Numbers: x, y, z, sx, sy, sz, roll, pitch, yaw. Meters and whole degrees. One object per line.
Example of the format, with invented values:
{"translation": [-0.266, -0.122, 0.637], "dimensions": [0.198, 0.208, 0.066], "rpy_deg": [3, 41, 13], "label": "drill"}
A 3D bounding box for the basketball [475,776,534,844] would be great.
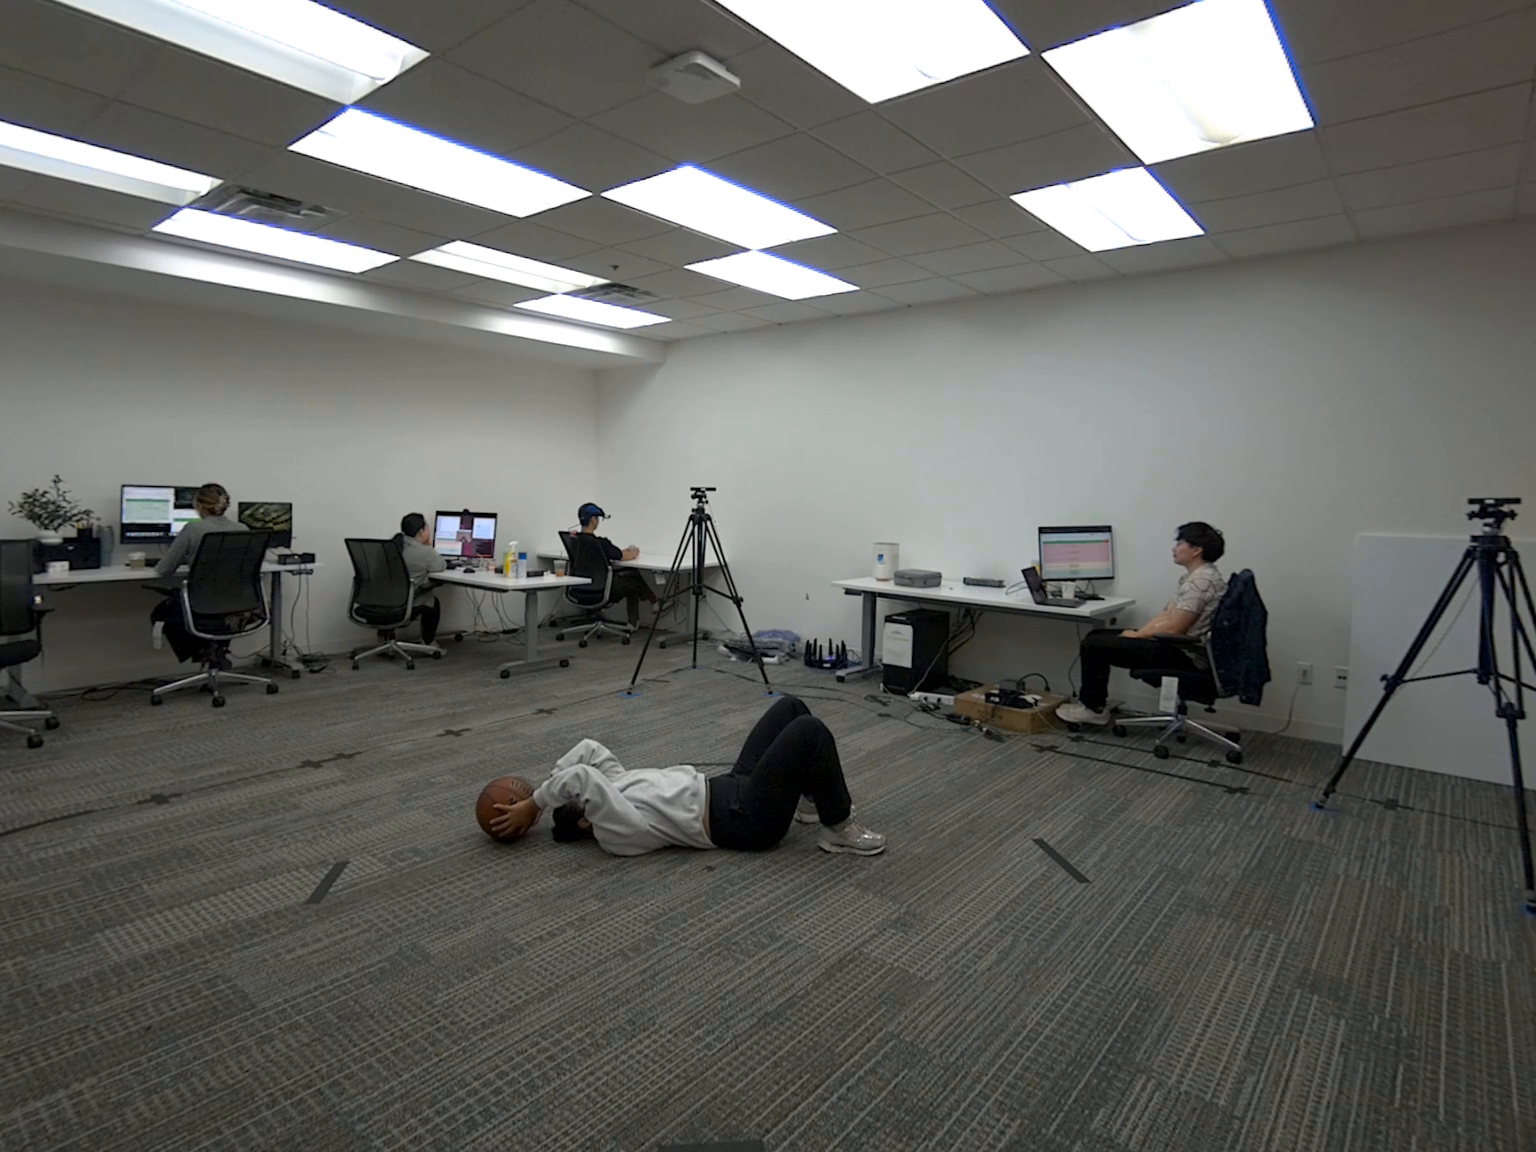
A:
{"translation": [-1.028, 0.894, 3.345], "dimensions": [0.235, 0.235, 0.237], "rpy_deg": [1, 4, -2], "label": "basketball"}
